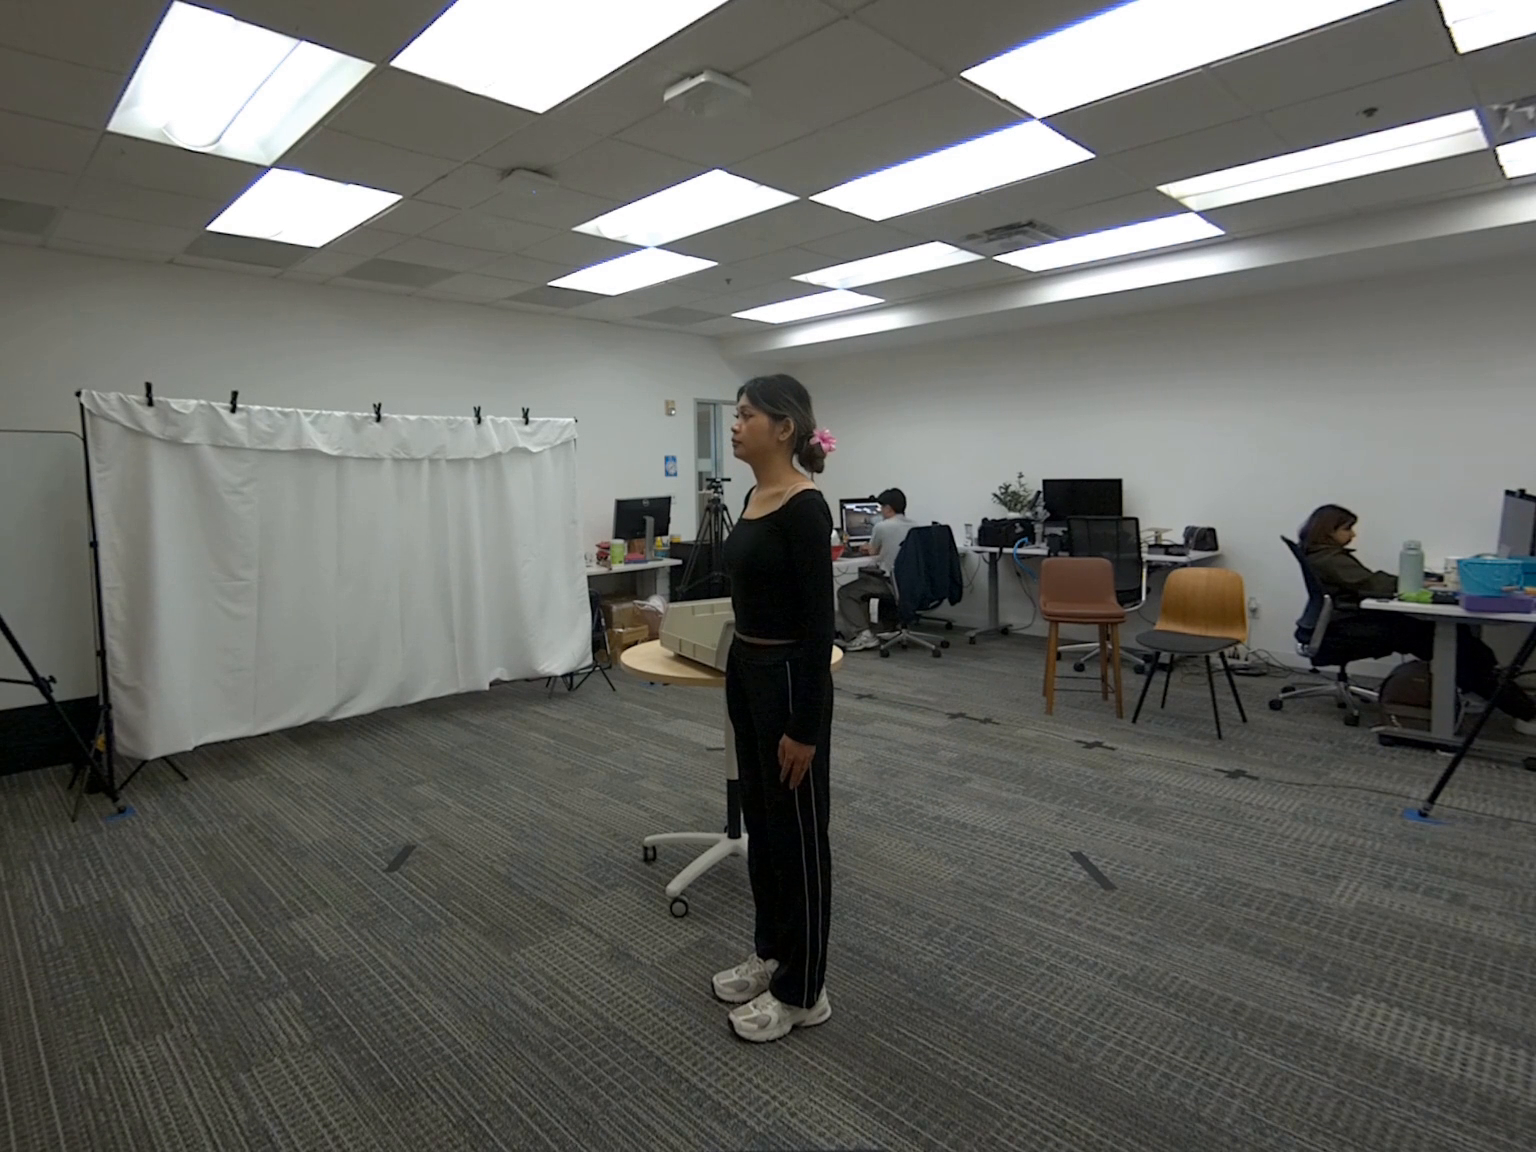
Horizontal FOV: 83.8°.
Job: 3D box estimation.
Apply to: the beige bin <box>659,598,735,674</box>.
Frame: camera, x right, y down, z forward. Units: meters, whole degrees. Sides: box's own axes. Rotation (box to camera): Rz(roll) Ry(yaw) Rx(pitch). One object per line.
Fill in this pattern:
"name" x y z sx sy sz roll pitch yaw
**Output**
"beige bin" -0.102 0.193 2.821 0.368 0.188 0.434 -3 6 -30
